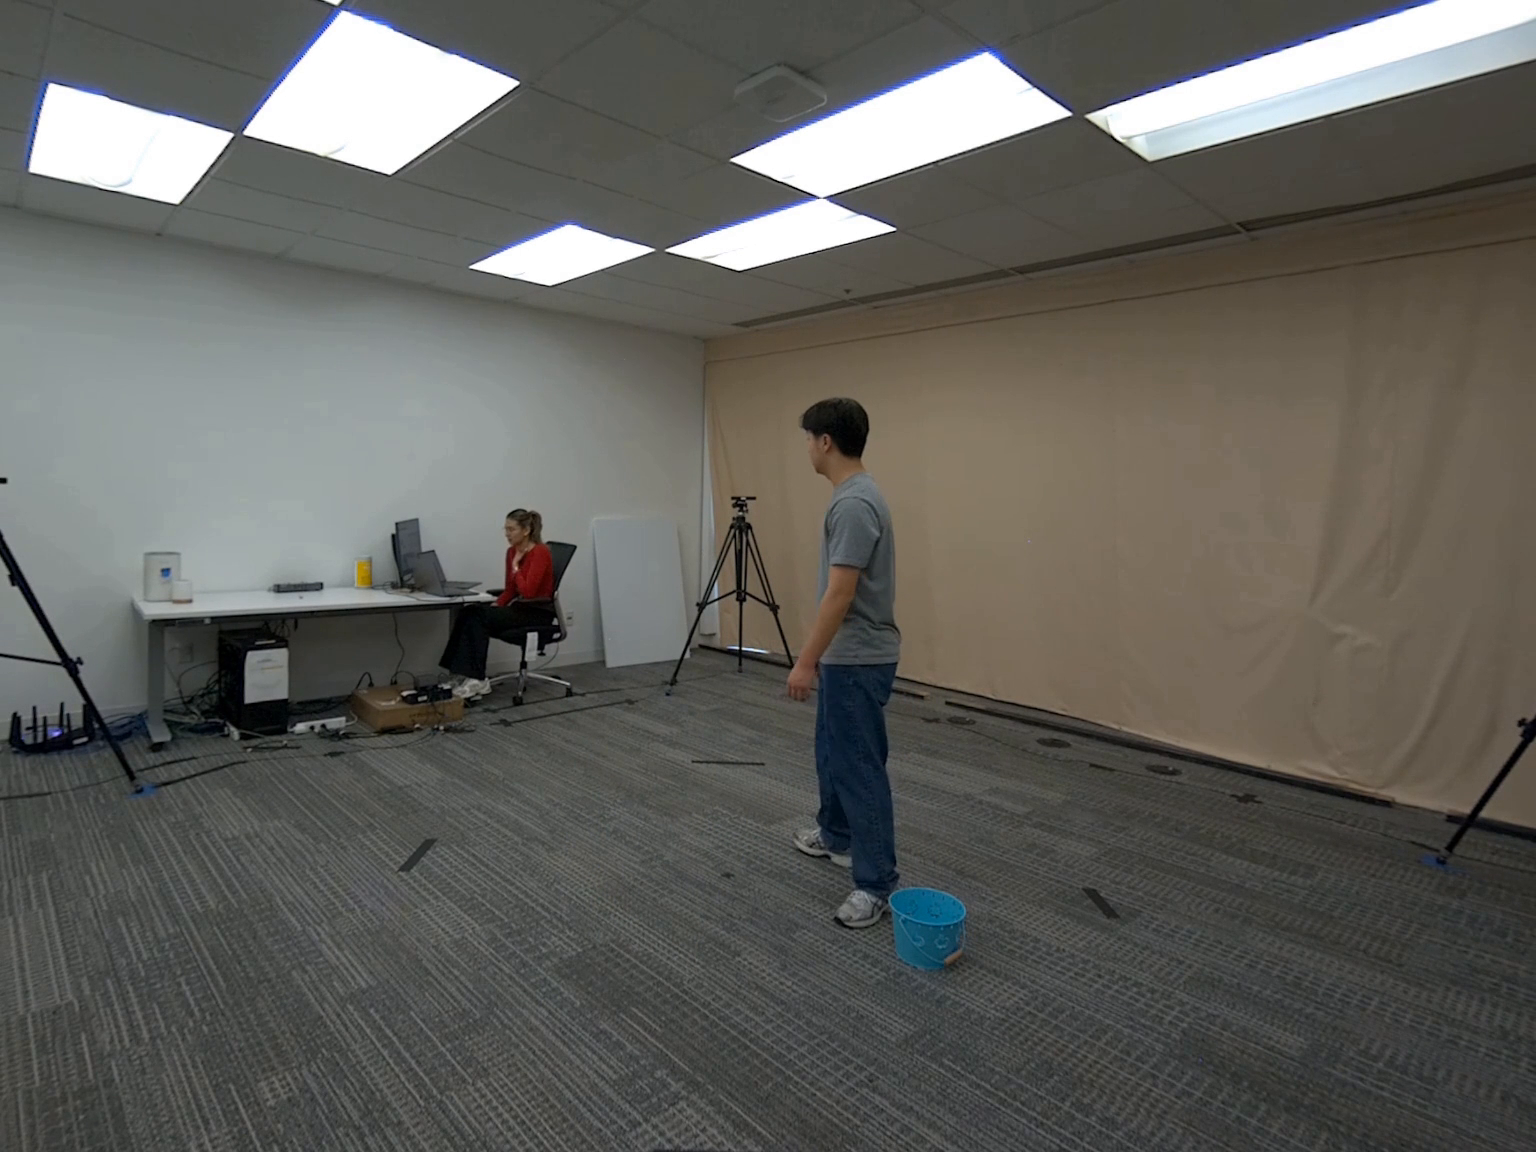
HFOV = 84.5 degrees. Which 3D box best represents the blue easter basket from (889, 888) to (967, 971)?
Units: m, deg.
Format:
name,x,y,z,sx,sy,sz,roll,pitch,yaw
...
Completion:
name,x,y,z,sx,sy,sz,roll,pitch,yaw
blue easter basket,0.480,1.089,2.596,0.243,0.155,0.244,1,4,-1
